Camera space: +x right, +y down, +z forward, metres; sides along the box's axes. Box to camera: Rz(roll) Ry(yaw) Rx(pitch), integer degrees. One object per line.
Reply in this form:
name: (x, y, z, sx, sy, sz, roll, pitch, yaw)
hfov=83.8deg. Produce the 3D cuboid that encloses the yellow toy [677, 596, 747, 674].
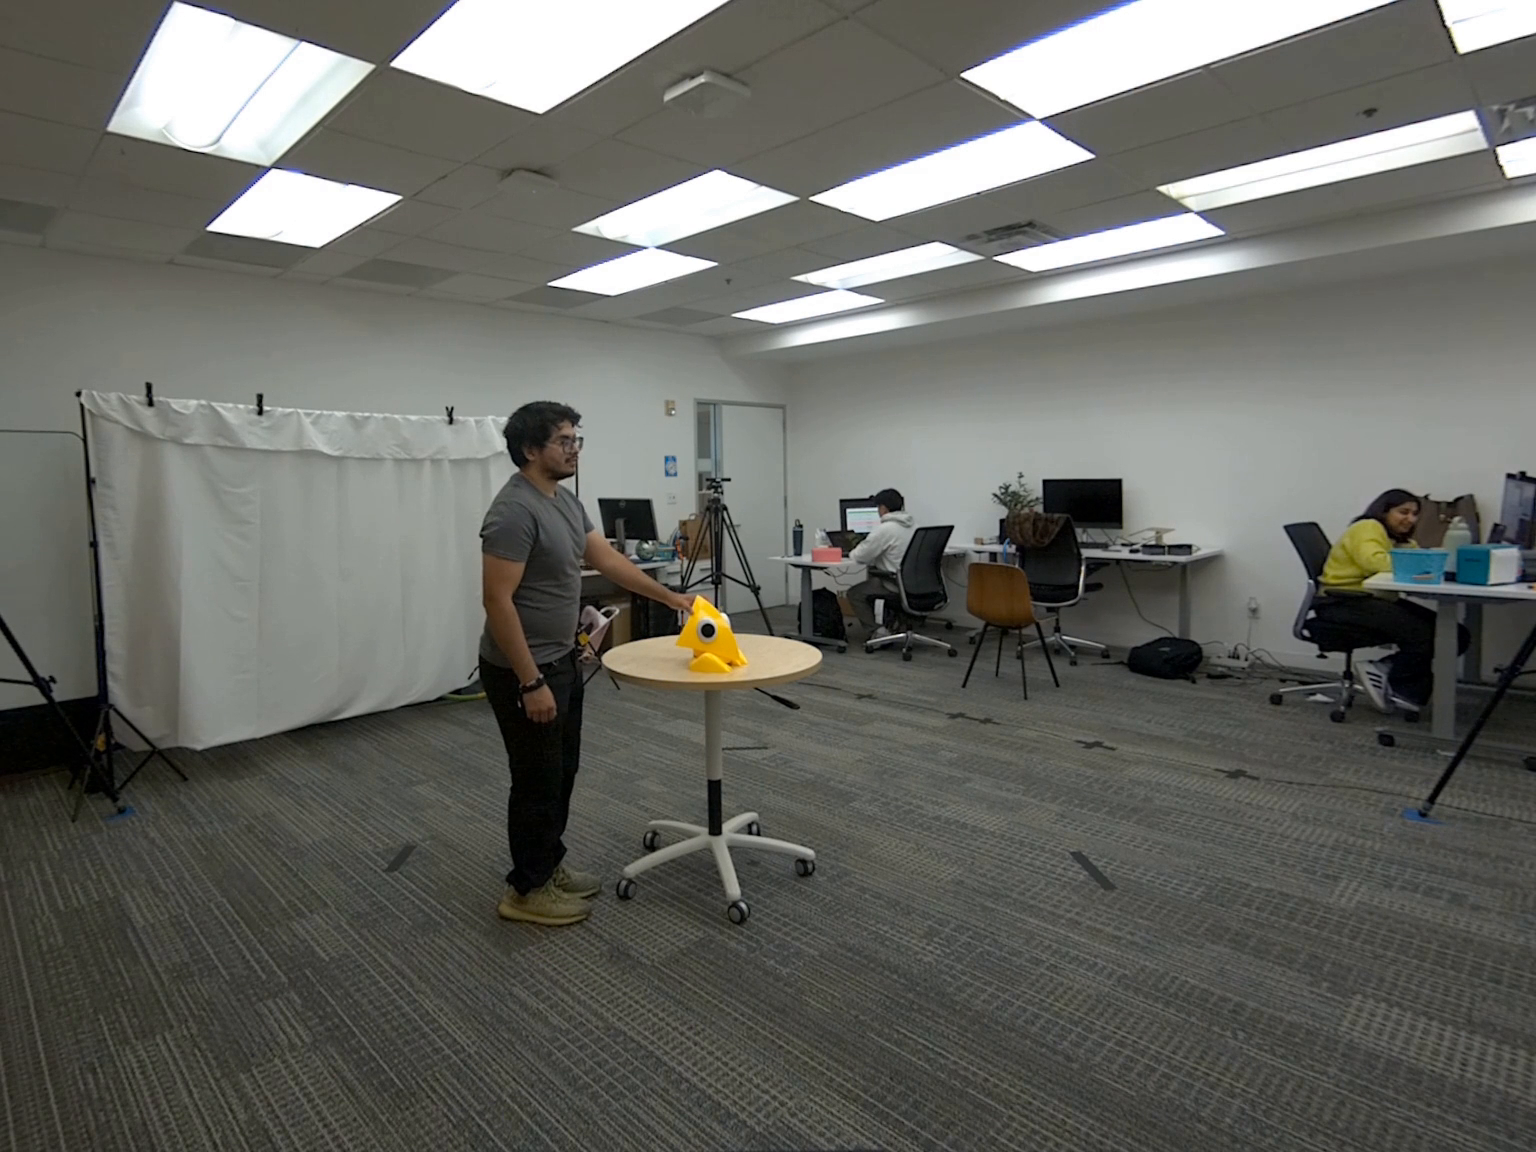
yellow toy: (-0.172, 0.183, 2.819, 0.198, 0.229, 0.201, 2, 7, 27)
